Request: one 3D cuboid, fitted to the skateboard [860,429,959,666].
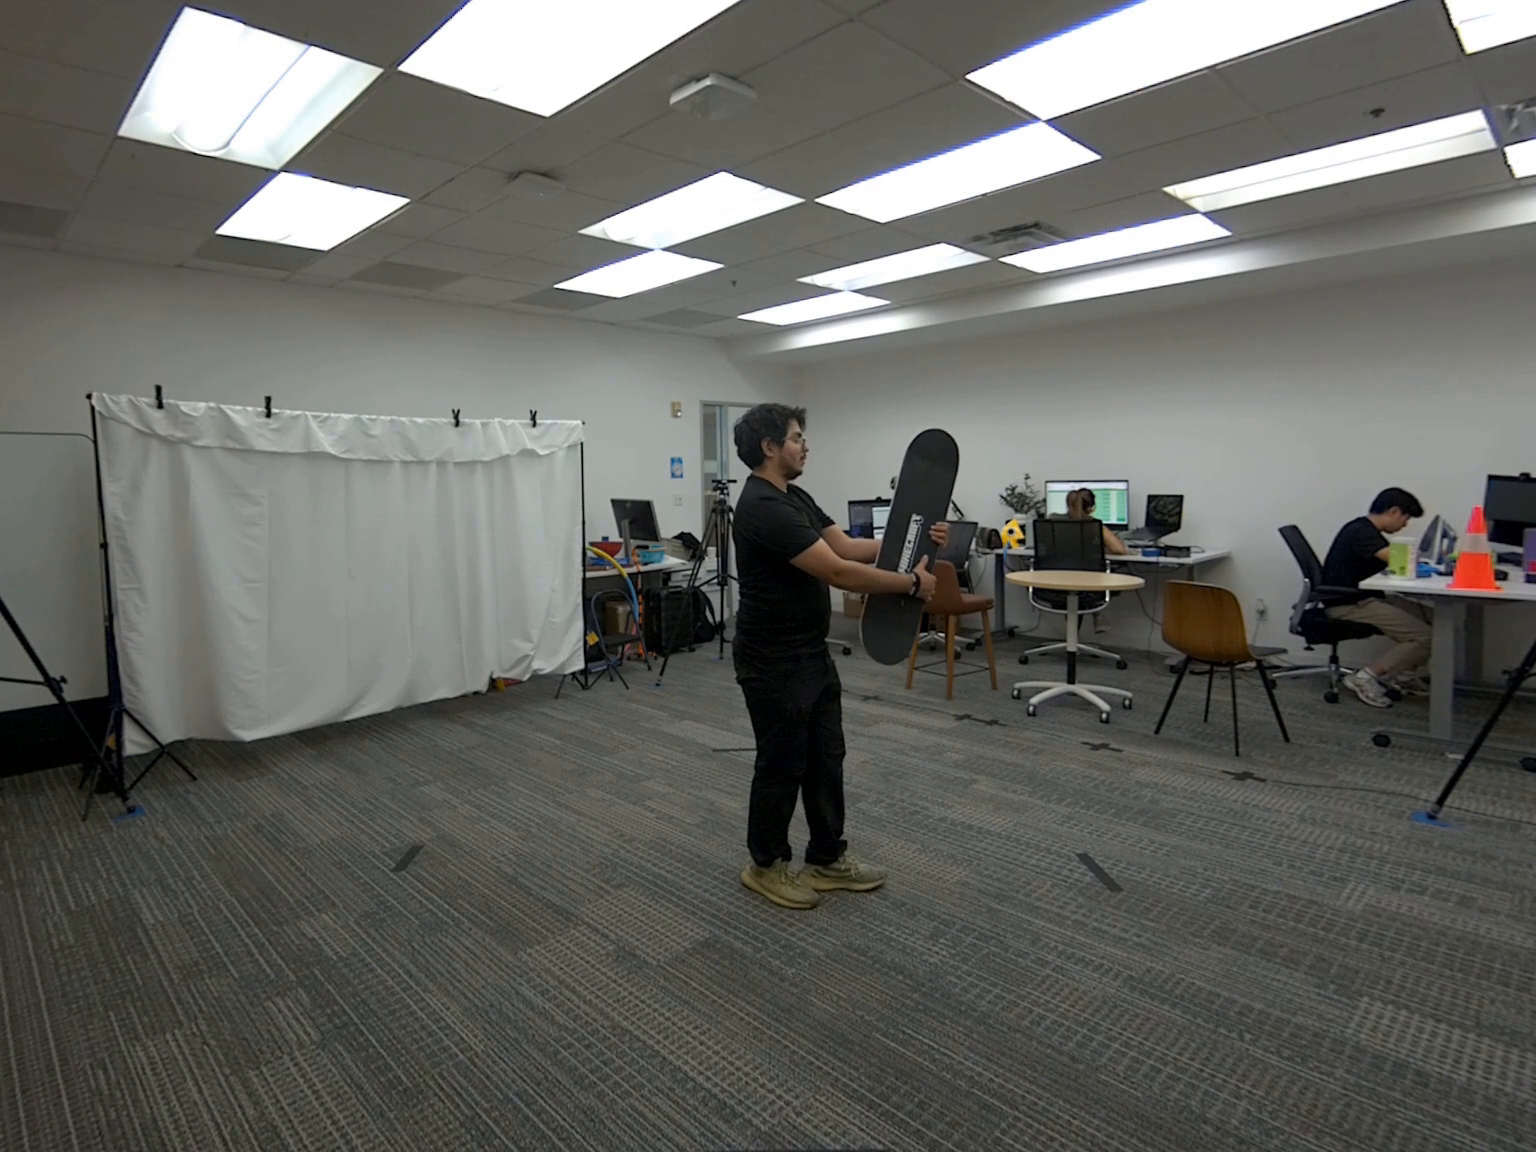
[{"bbox_3d":[0.456,-0.093,2.775,0.192,0.790,0.110,17,-10,-5],"label":"skateboard"}]
